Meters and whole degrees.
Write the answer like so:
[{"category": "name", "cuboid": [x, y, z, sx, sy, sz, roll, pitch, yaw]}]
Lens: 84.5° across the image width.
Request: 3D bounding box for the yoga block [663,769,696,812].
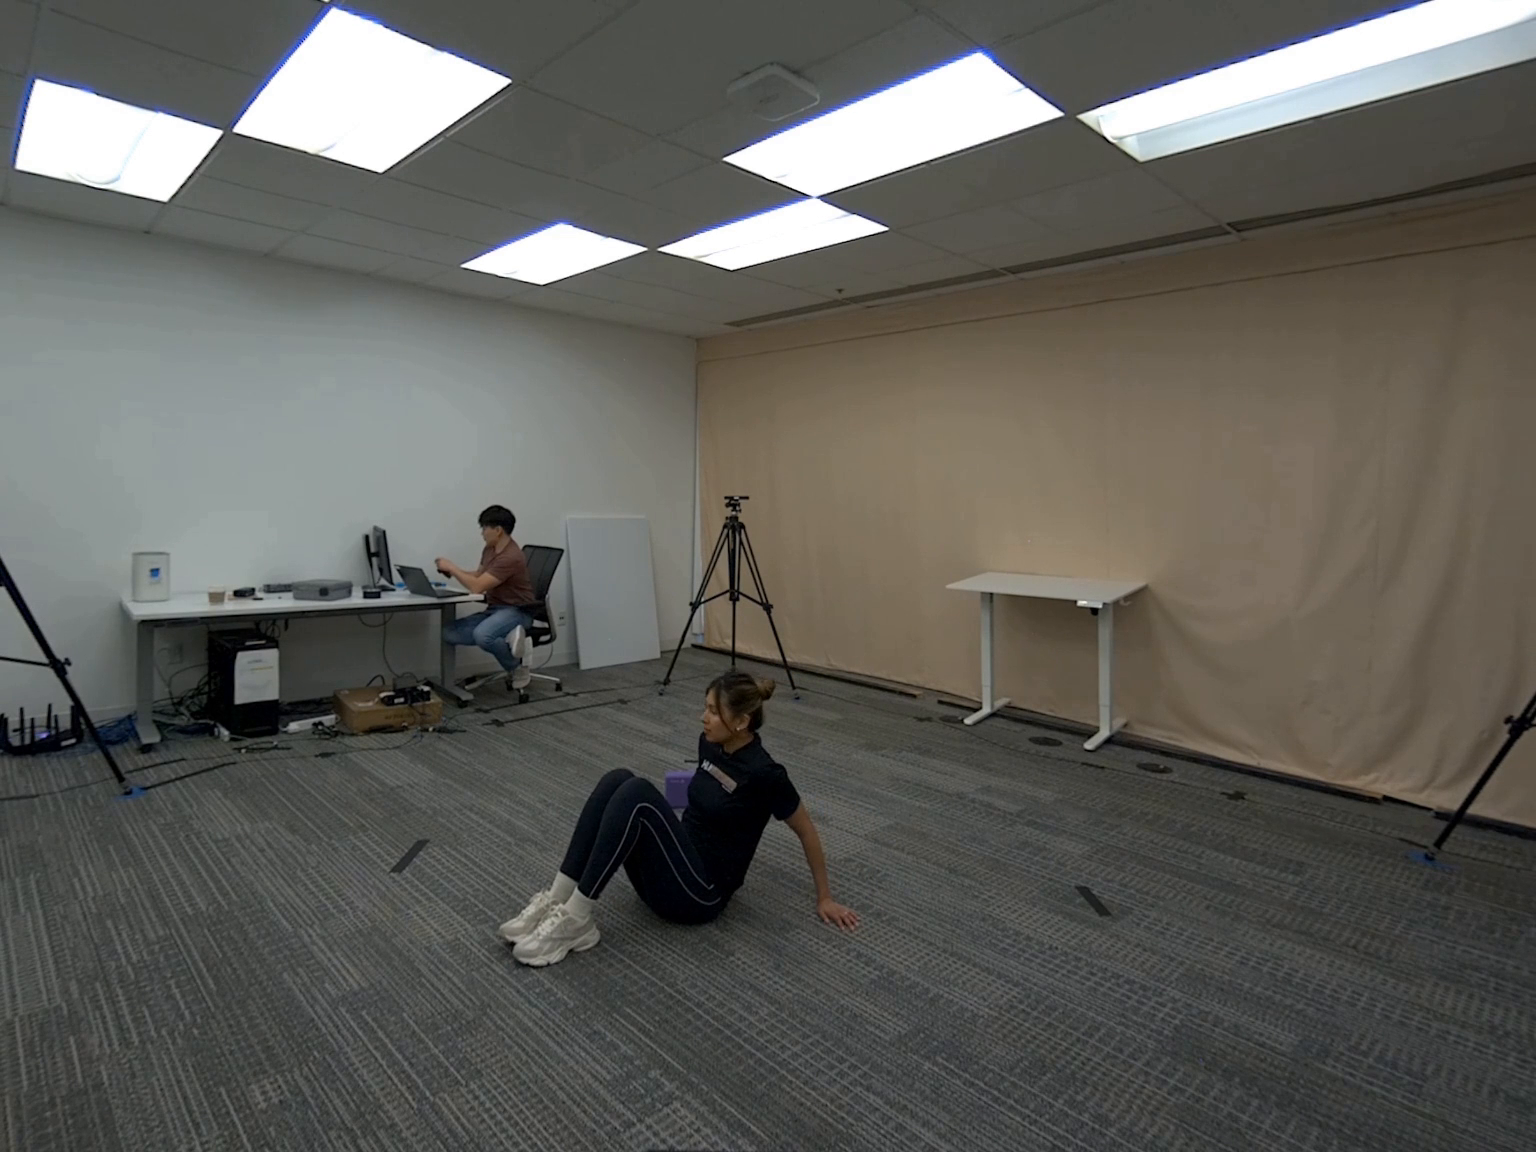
[{"category": "yoga block", "cuboid": [-0.353, 0.964, 3.803, 0.228, 0.149, 0.077, 0, -1, -7]}]
